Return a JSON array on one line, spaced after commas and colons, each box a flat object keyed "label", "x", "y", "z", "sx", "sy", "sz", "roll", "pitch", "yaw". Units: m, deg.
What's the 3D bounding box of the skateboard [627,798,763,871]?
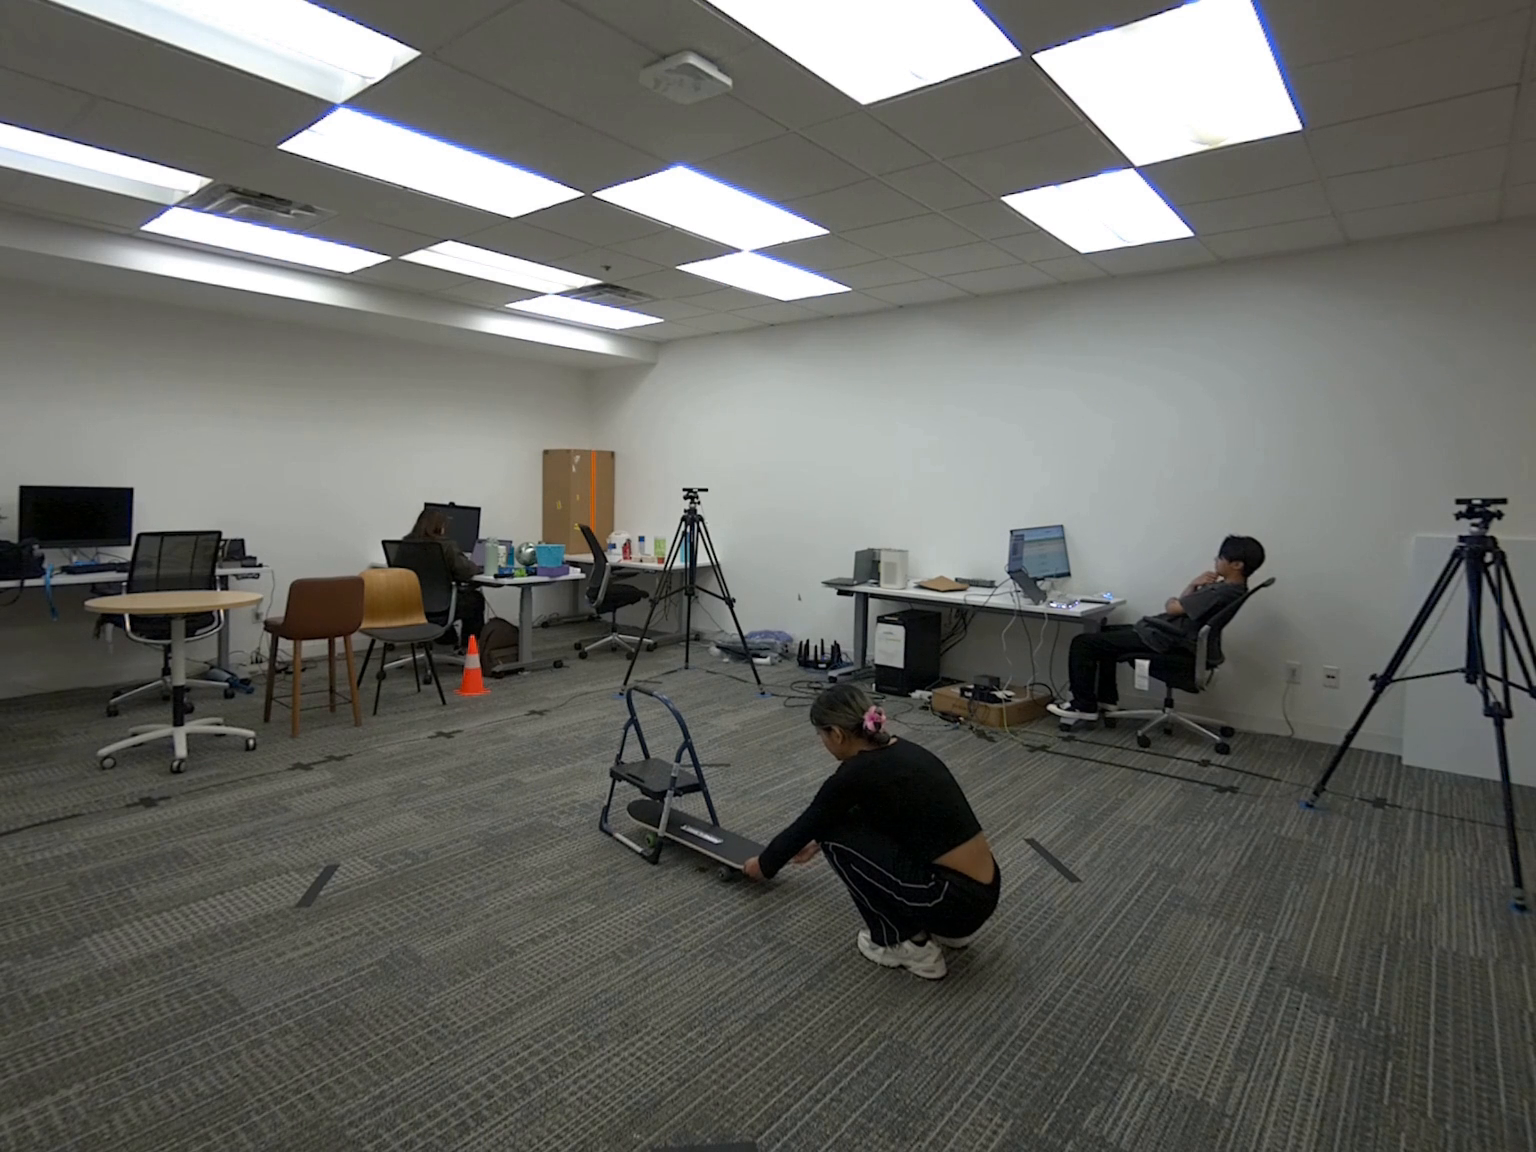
[{"label": "skateboard", "x": -0.263, "y": 0.999, "z": 3.213, "sx": 0.813, "sy": 0.110, "sz": 0.188, "roll": 6, "pitch": 8, "yaw": 44}]
